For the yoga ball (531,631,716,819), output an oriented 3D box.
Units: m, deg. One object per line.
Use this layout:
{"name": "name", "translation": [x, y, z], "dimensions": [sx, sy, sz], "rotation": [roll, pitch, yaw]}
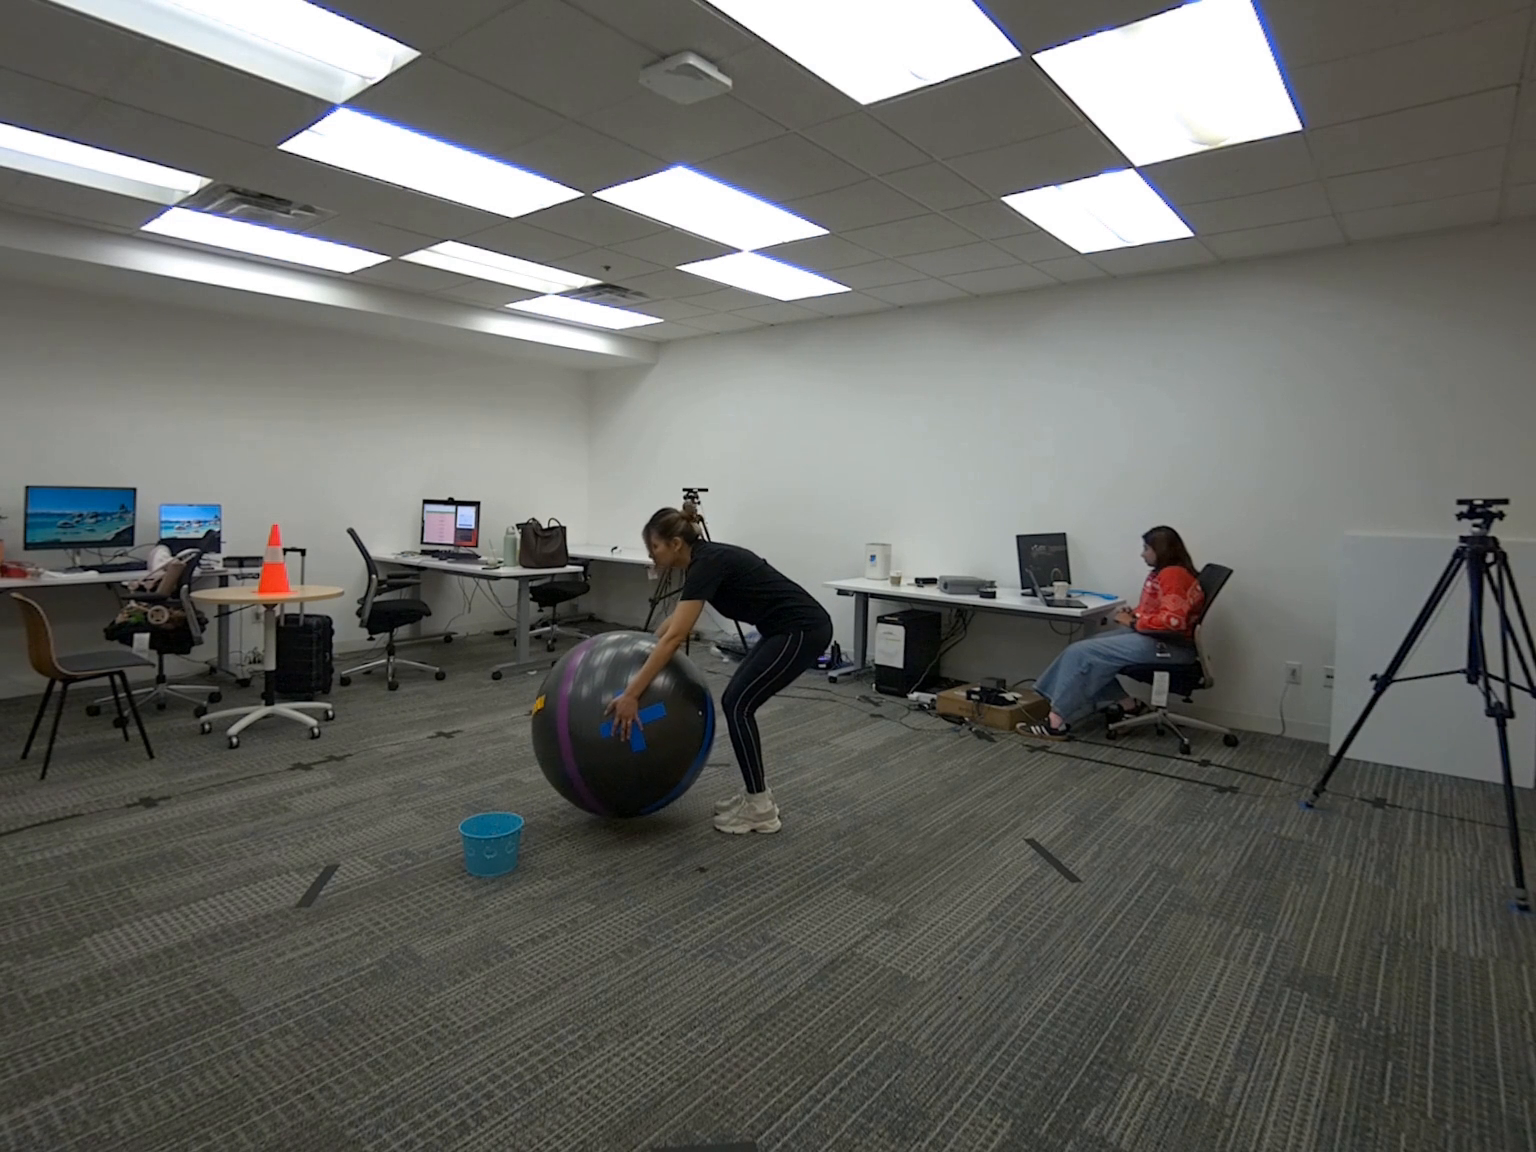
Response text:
{"name": "yoga ball", "translation": [-0.612, 0.602, 3.524], "dimensions": [0.757, 0.756, 0.762], "rotation": [1, 4, -2]}
